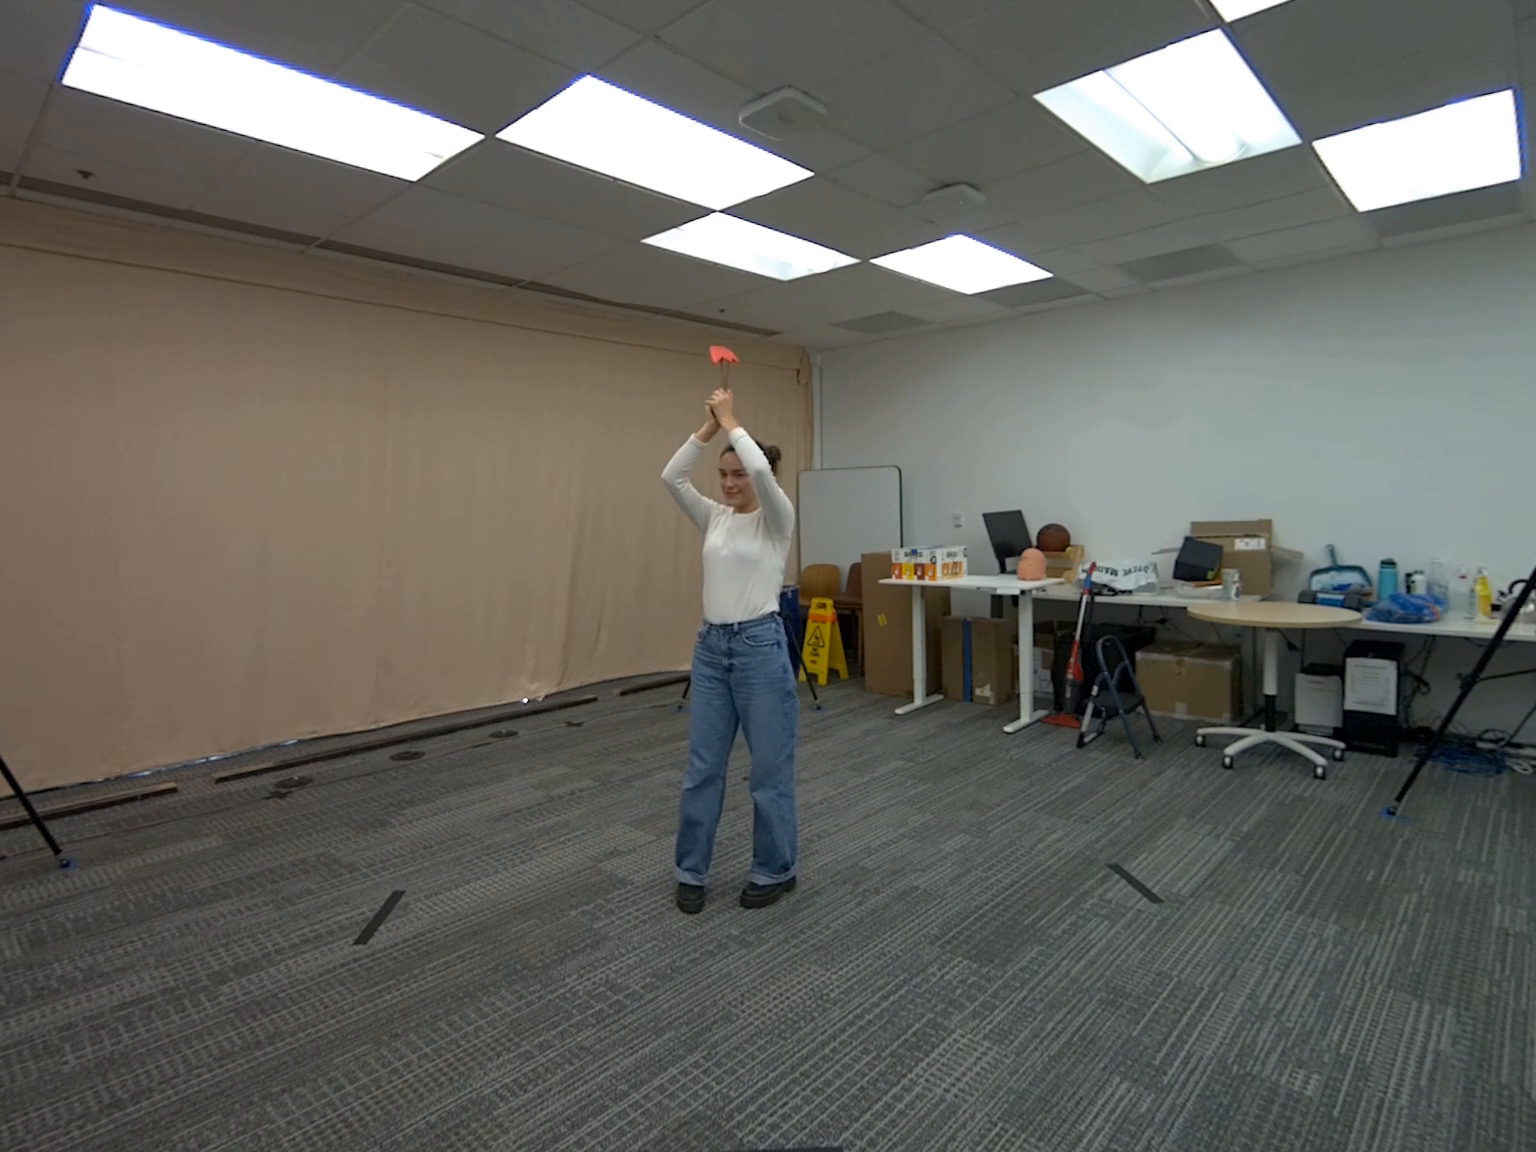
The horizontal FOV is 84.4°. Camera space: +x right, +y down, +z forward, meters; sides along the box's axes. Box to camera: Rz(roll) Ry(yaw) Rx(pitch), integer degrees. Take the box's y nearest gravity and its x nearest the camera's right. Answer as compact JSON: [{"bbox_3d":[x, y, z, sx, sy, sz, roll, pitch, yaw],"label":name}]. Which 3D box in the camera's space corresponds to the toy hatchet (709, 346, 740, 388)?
[{"bbox_3d":[-0.166,-0.681,2.875,0.030,0.272,0.126,-16,-41,41],"label":"toy hatchet"}]
